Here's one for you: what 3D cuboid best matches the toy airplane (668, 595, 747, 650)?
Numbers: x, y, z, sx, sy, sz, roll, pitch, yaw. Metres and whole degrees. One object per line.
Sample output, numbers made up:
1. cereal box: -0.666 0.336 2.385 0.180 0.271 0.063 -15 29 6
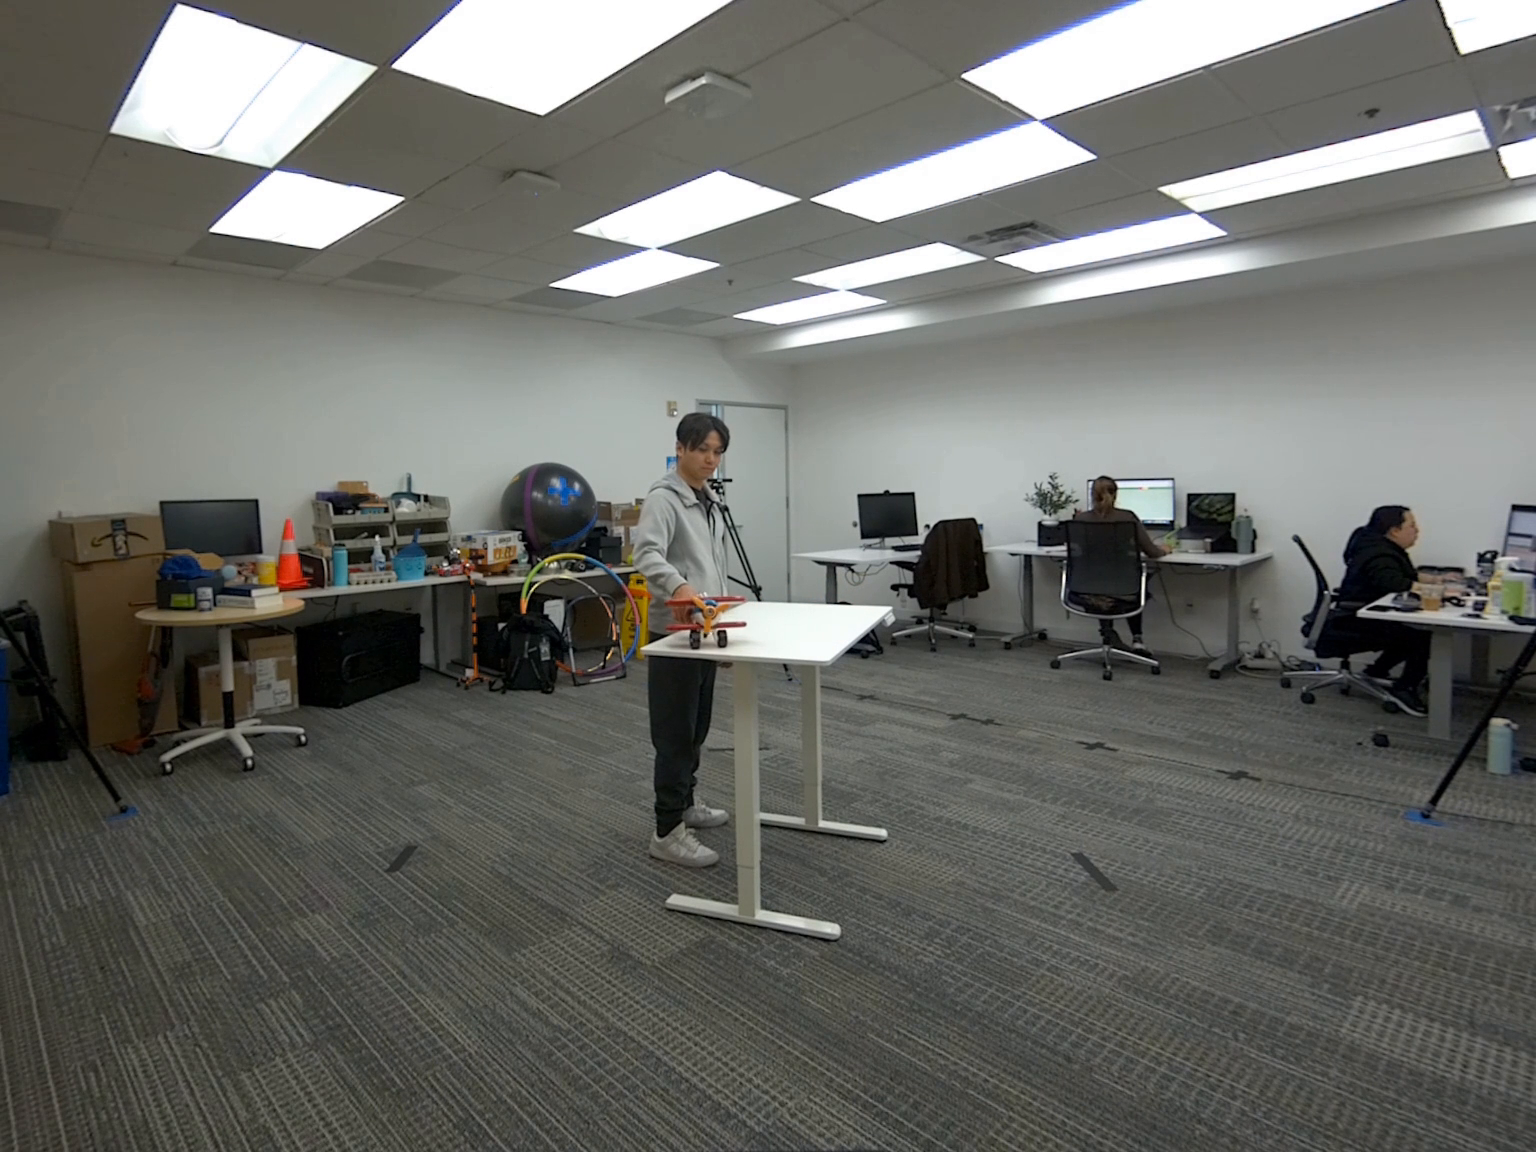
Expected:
1. toy airplane: -0.221 0.140 2.709 0.245 0.155 0.267 -7 9 -40
